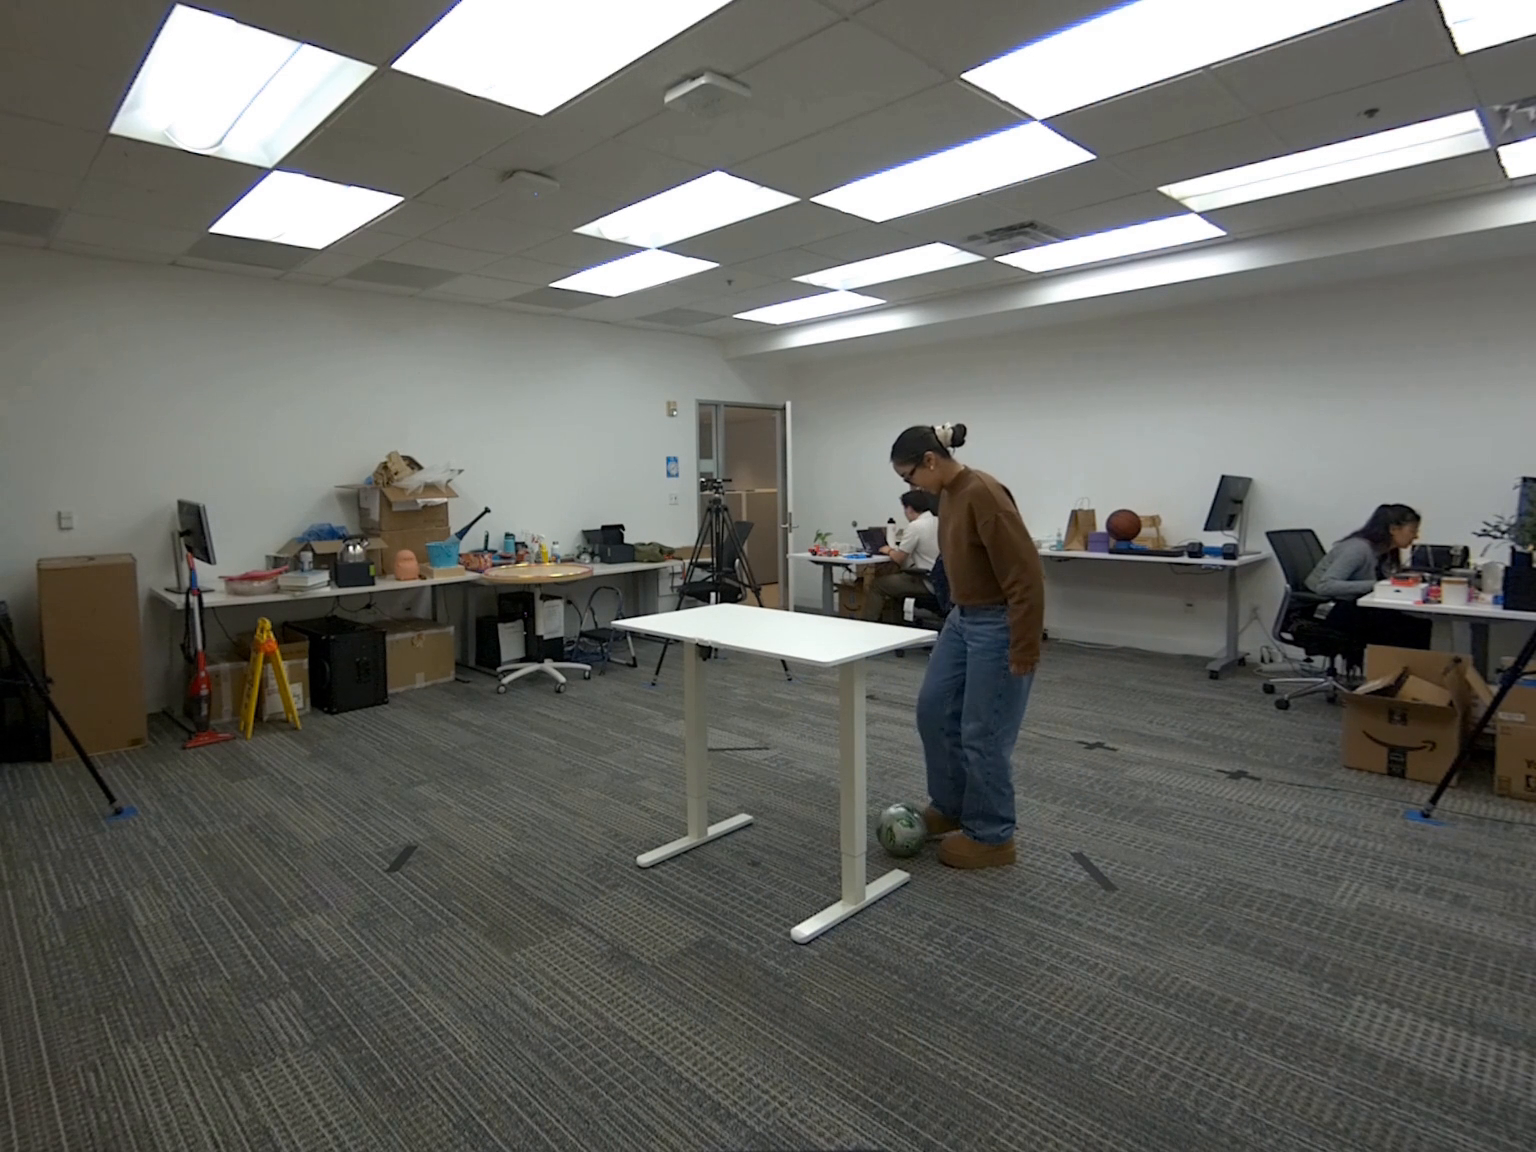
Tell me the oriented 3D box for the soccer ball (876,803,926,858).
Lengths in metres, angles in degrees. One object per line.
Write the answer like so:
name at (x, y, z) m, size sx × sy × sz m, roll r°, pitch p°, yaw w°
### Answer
soccer ball at (0.501, 0.934, 3.163) m, size 0.187 × 0.187 × 0.188 m, roll -1°, pitch 5°, yaw -2°
